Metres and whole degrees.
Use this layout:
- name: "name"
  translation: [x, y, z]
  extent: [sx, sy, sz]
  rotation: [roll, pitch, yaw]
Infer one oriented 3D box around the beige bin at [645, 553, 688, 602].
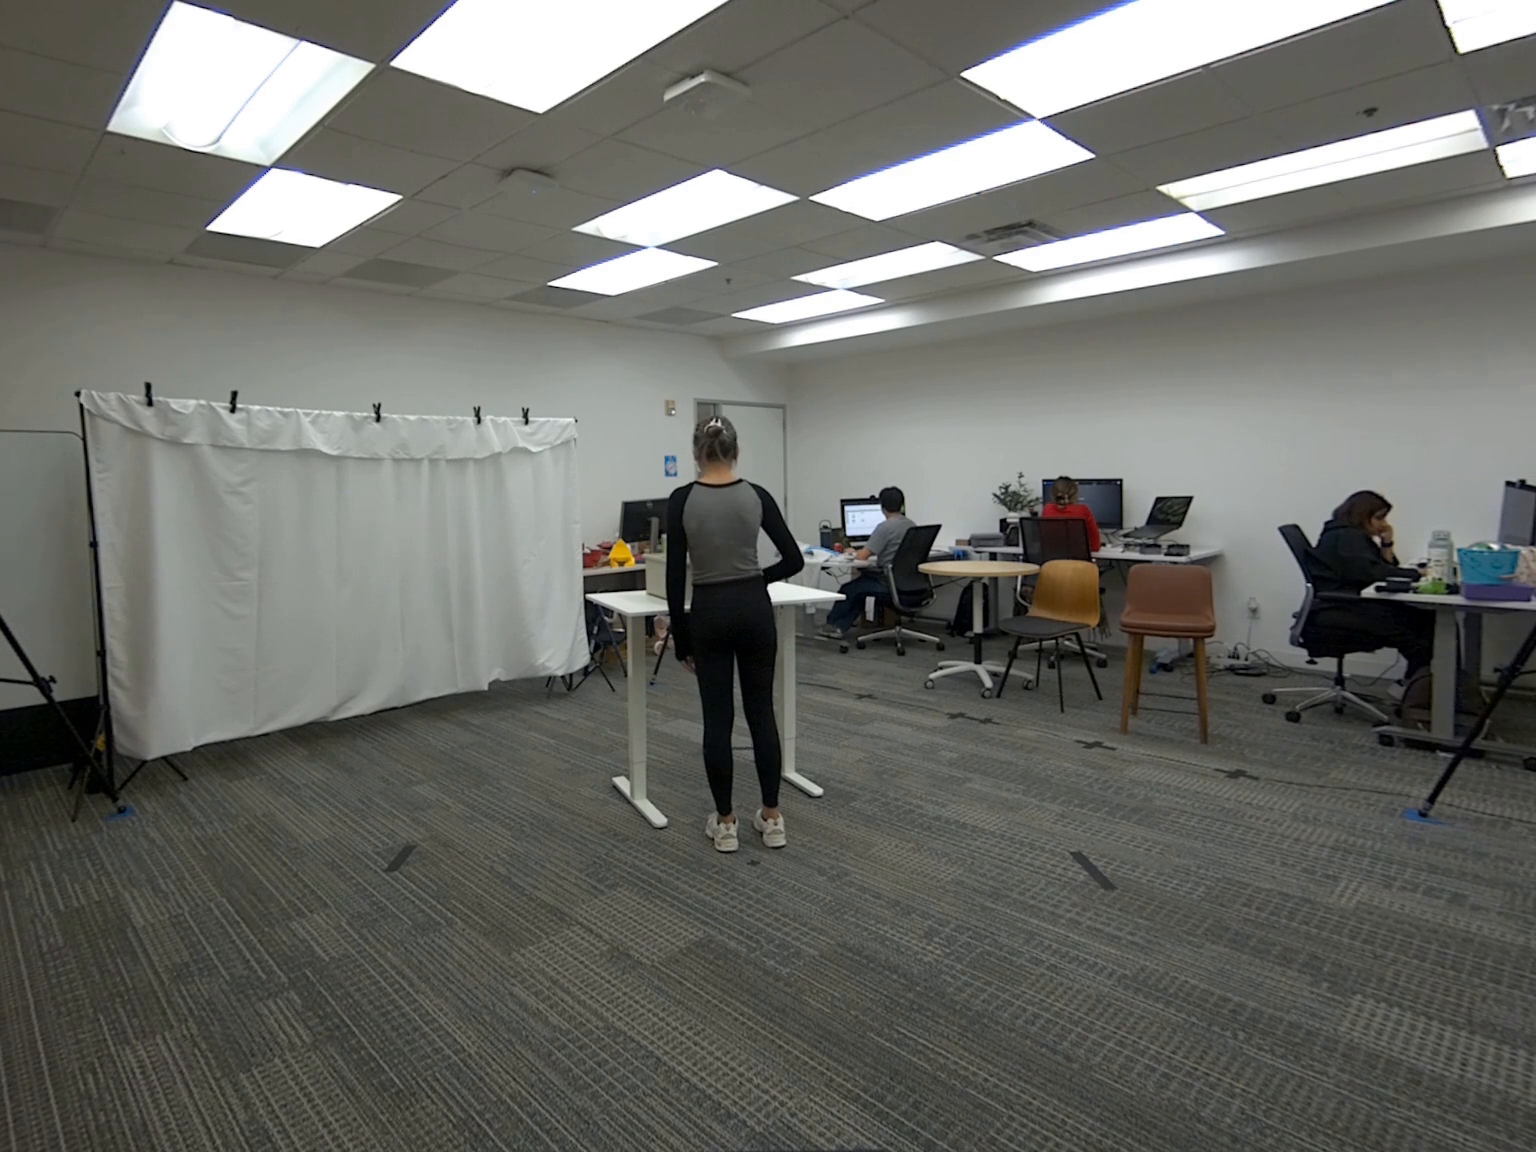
- name: "beige bin"
  translation: [-0.291, 0.007, 3.736]
  extent: [0.369, 0.188, 0.434]
  rotation: [-4, 7, -27]
